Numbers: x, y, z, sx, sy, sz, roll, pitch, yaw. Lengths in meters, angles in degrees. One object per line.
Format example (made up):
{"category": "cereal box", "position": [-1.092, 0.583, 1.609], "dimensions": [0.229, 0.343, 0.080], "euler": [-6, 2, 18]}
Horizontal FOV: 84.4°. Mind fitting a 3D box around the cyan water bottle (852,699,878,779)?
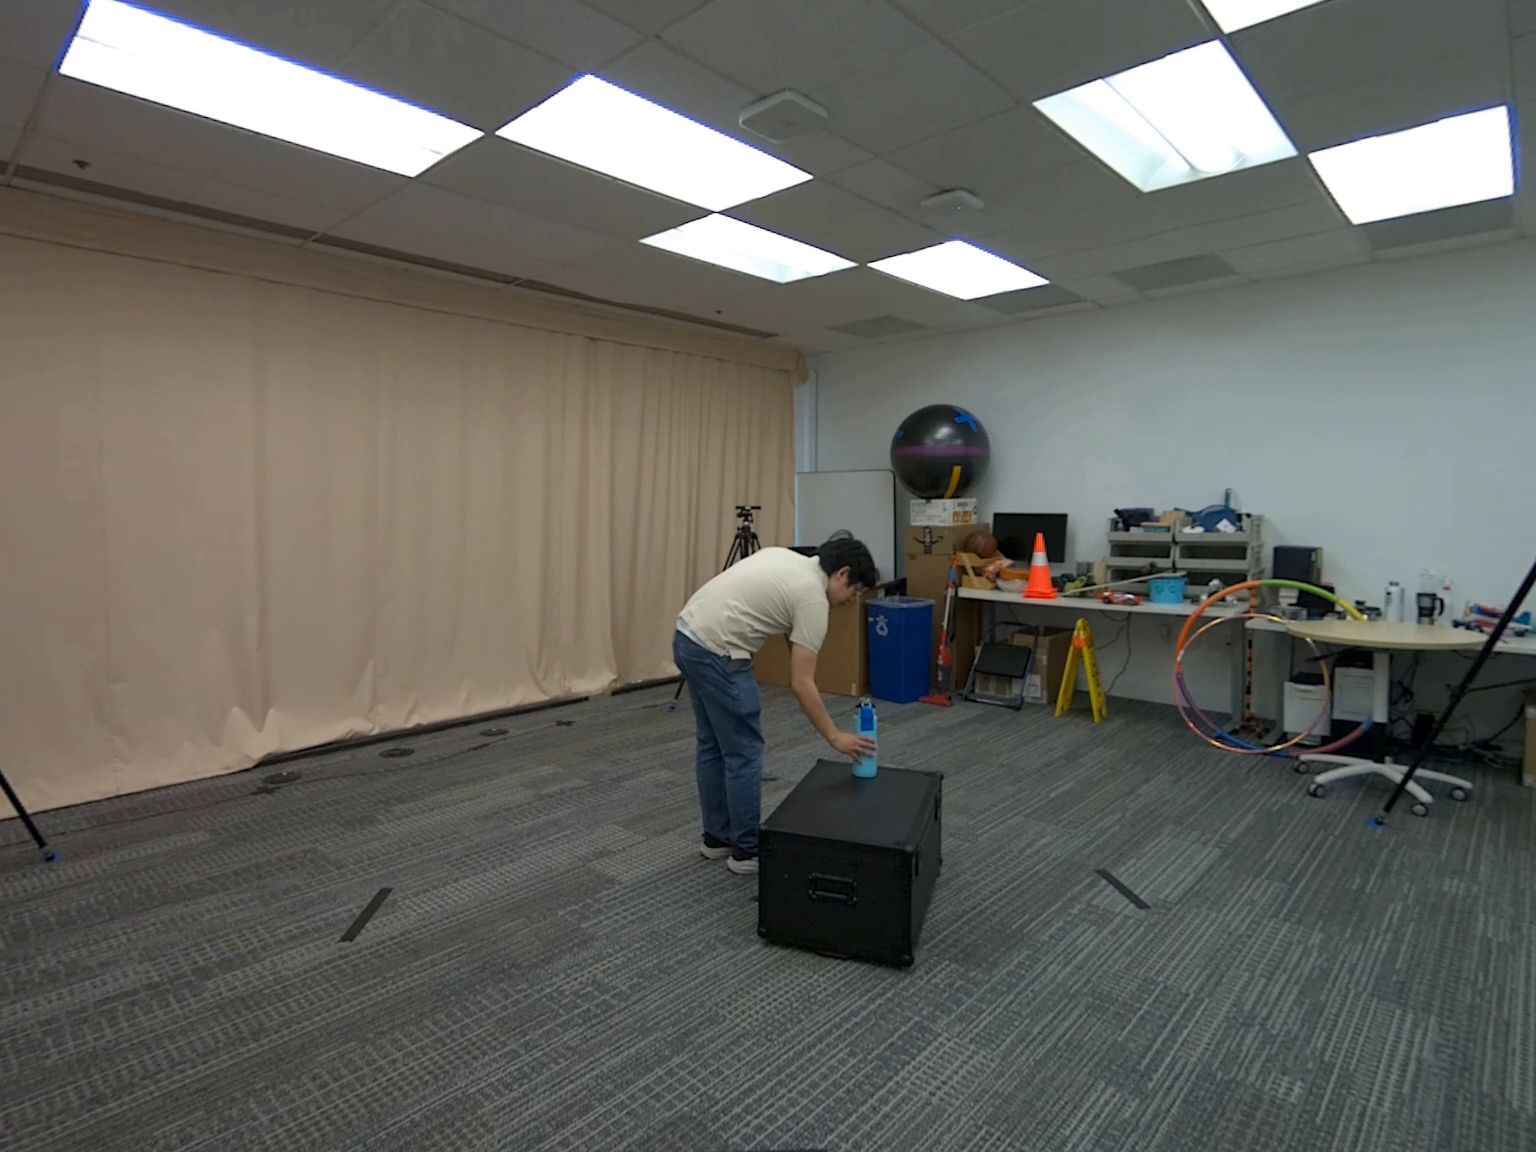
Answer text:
{"category": "cyan water bottle", "position": [0.379, 0.609, 3.183], "dimensions": [0.092, 0.283, 0.092], "euler": [1, 3, -2]}
